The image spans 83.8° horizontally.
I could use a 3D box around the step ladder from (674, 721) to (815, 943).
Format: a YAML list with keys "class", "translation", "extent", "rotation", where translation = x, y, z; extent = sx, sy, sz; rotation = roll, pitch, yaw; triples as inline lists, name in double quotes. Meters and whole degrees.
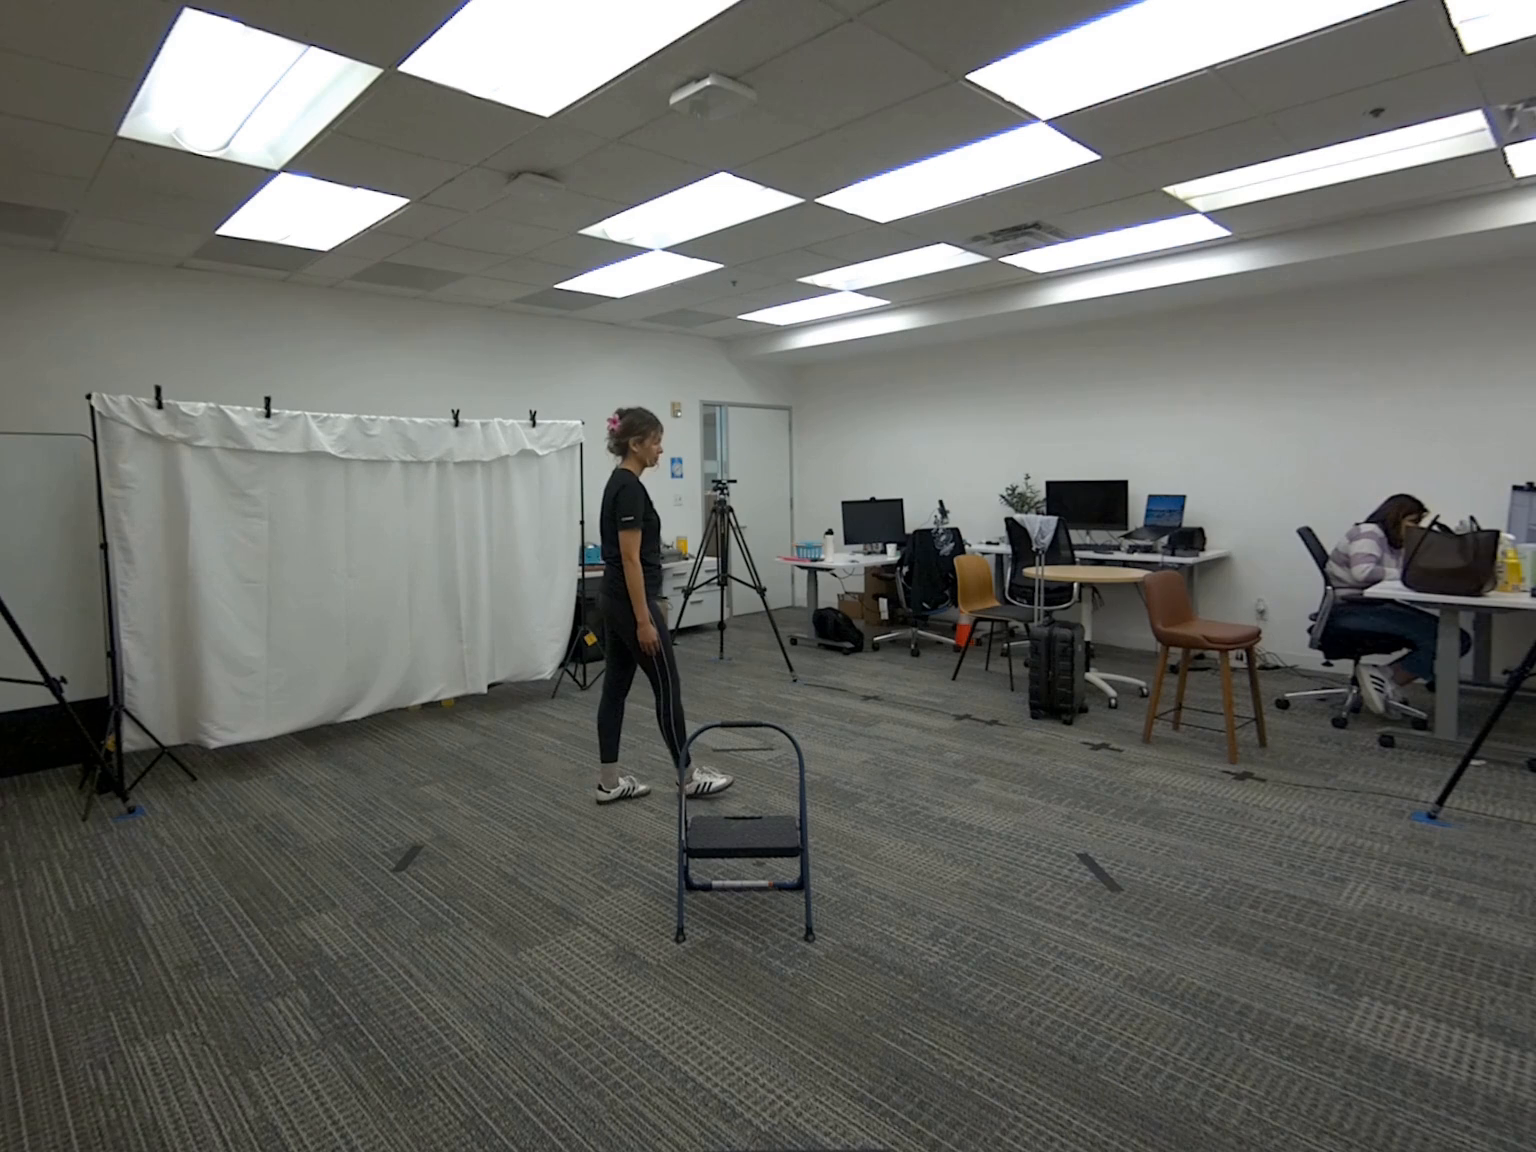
- class: "step ladder"
  translation: [-0.076, 0.790, 2.745]
  extent: [0.430, 0.603, 0.351]
  rotation: [-1, 5, -1]
